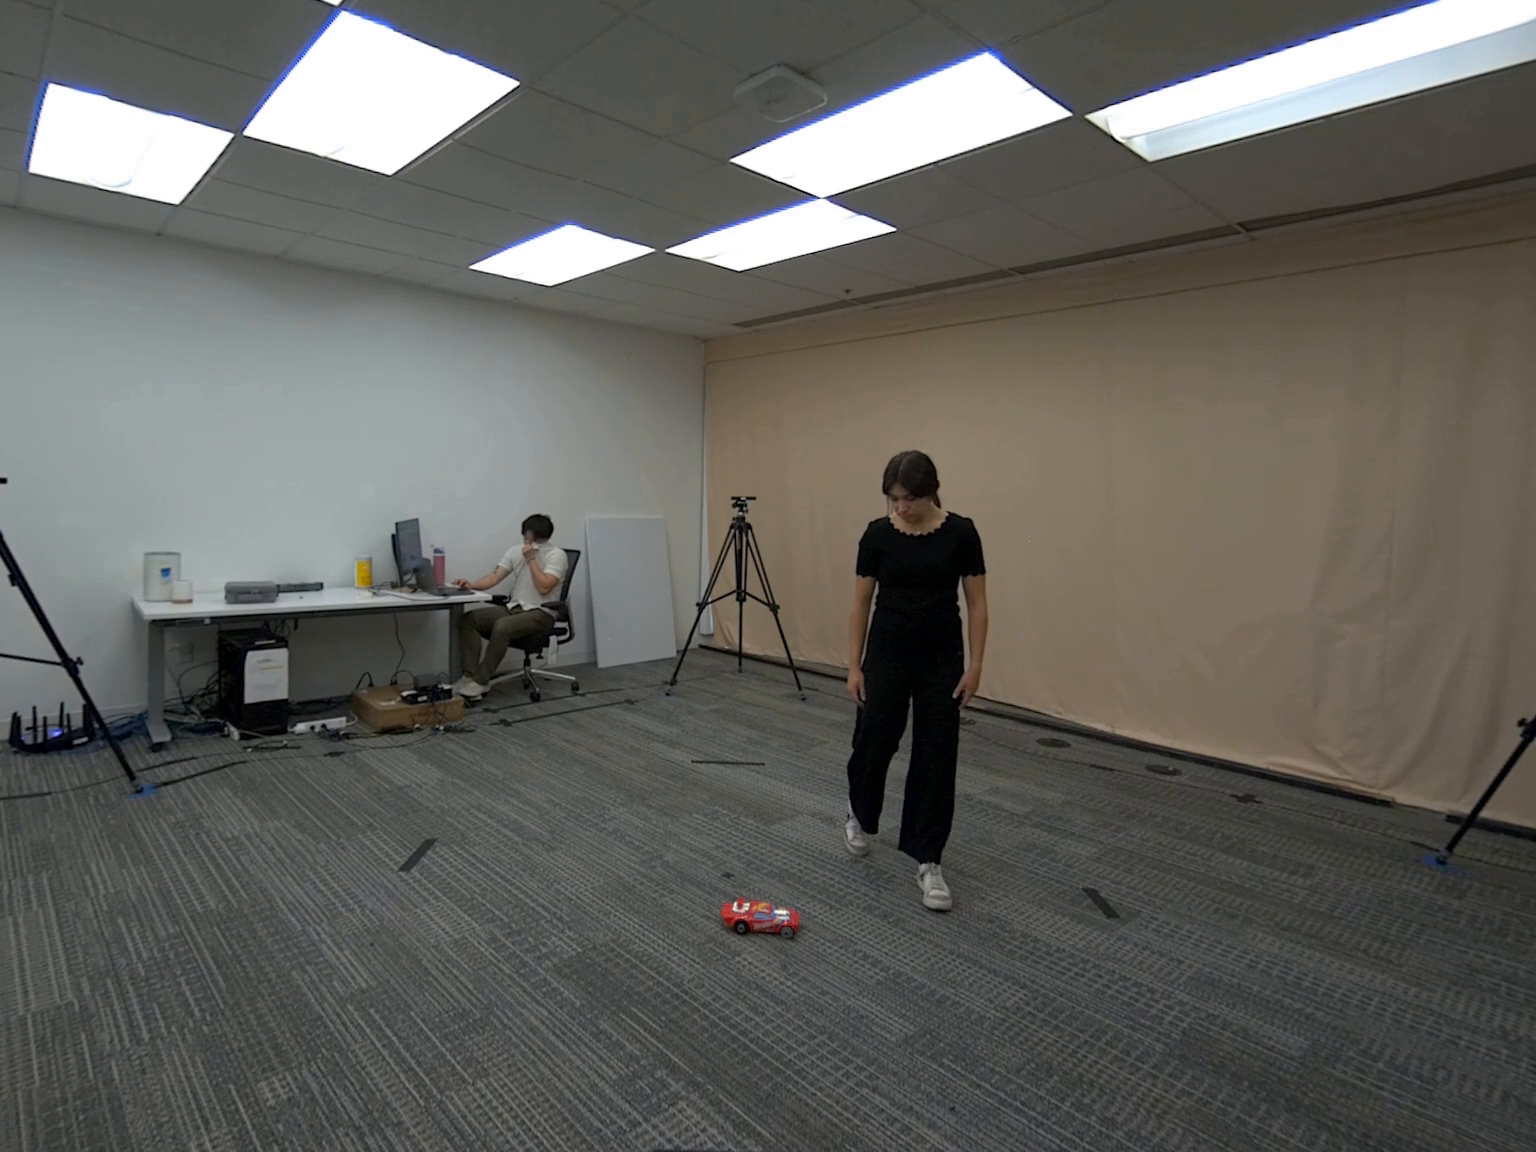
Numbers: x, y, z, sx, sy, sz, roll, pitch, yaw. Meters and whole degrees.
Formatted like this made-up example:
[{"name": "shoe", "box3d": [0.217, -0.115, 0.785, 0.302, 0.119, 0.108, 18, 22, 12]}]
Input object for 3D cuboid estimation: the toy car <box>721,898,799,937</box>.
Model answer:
[{"name": "toy car", "box3d": [-0.038, 1.113, 2.725, 0.256, 0.083, 0.130, 14, 5, 6]}]
